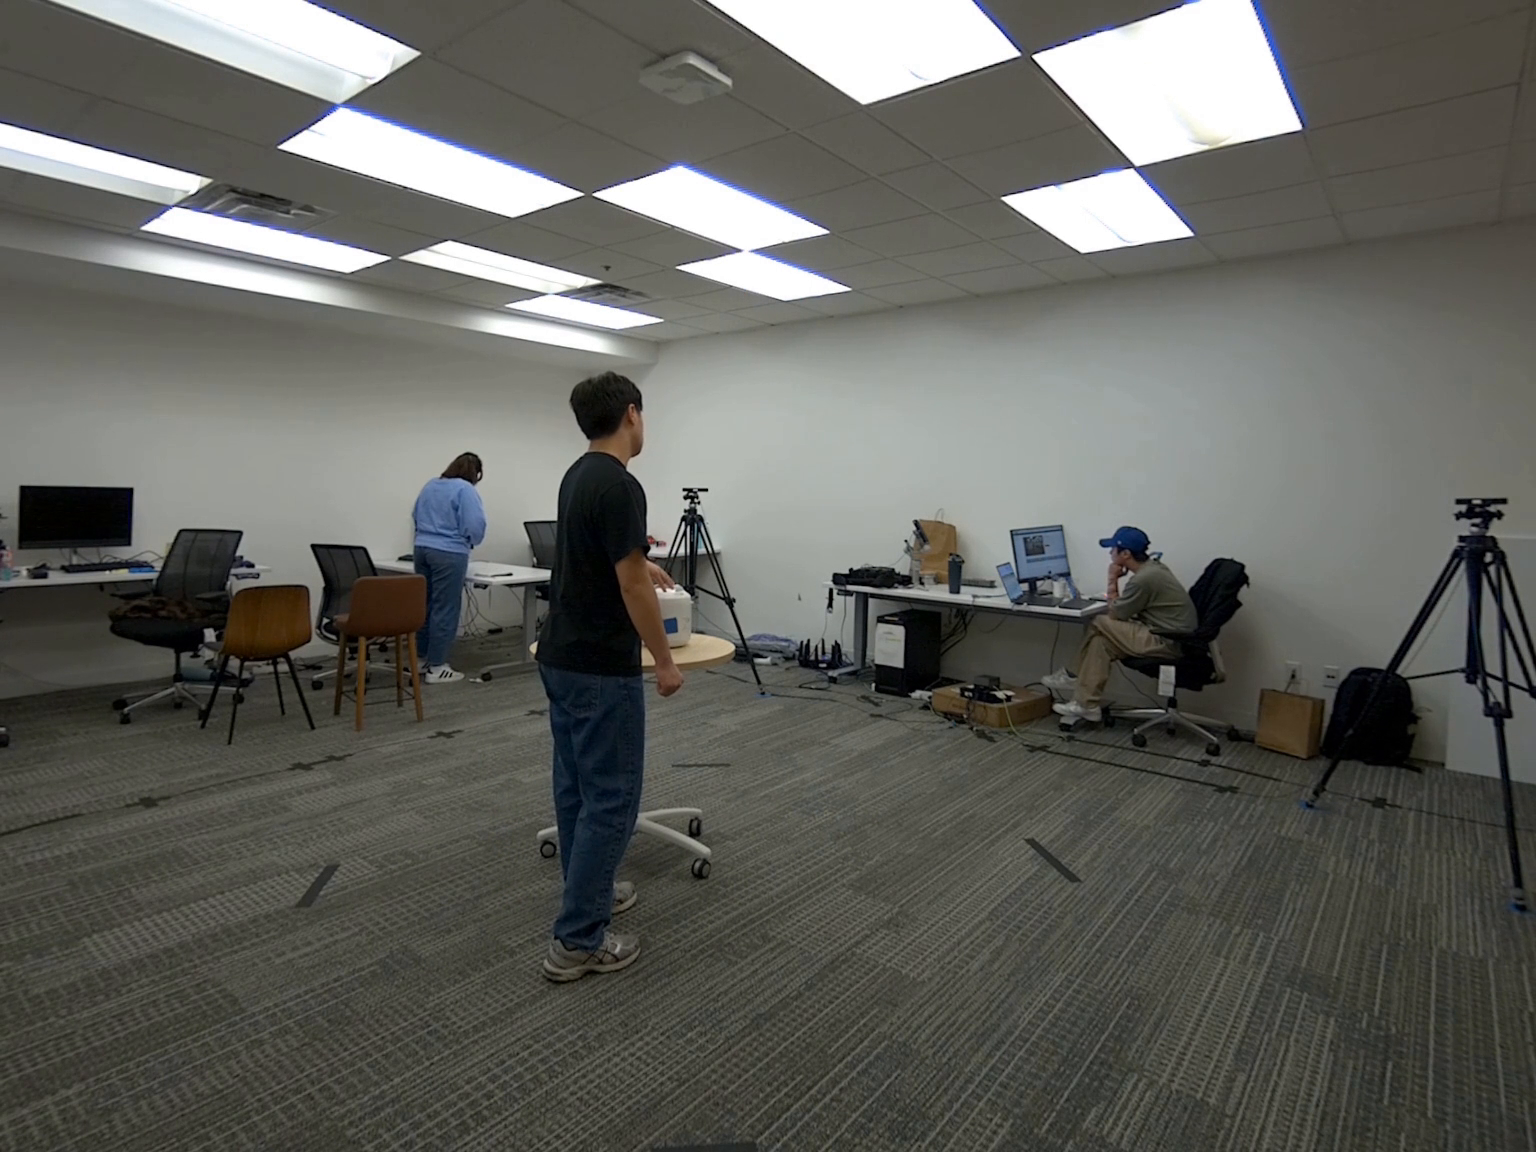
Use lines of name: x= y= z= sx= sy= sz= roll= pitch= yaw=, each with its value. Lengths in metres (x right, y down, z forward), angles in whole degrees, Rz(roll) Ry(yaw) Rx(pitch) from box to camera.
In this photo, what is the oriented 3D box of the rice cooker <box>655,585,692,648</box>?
rice cooker: x=-0.403 y=0.144 z=3.228 sx=0.214 sy=0.232 sz=0.224 roll=0 pitch=4 yaw=-35
